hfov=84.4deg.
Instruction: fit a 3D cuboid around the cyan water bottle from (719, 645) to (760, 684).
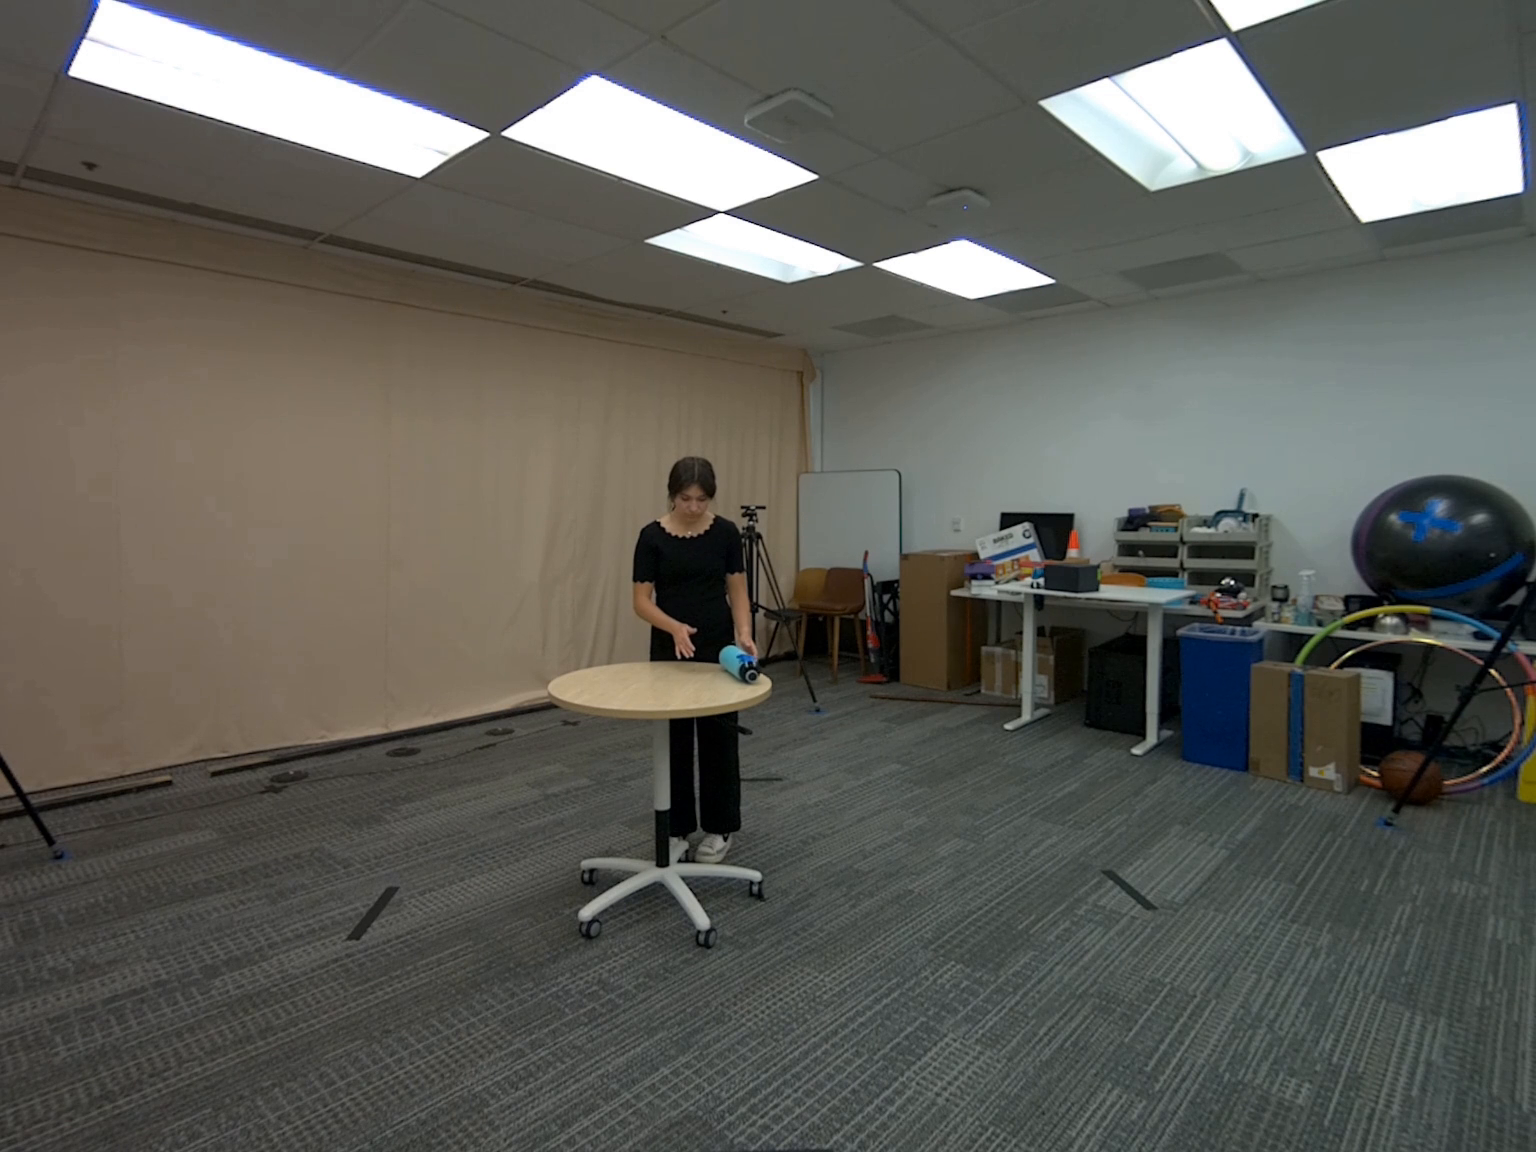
[{"bbox_3d":[-0.096,0.313,2.990,0.091,0.092,0.287,-1,4,-11],"label":"cyan water bottle"}]
